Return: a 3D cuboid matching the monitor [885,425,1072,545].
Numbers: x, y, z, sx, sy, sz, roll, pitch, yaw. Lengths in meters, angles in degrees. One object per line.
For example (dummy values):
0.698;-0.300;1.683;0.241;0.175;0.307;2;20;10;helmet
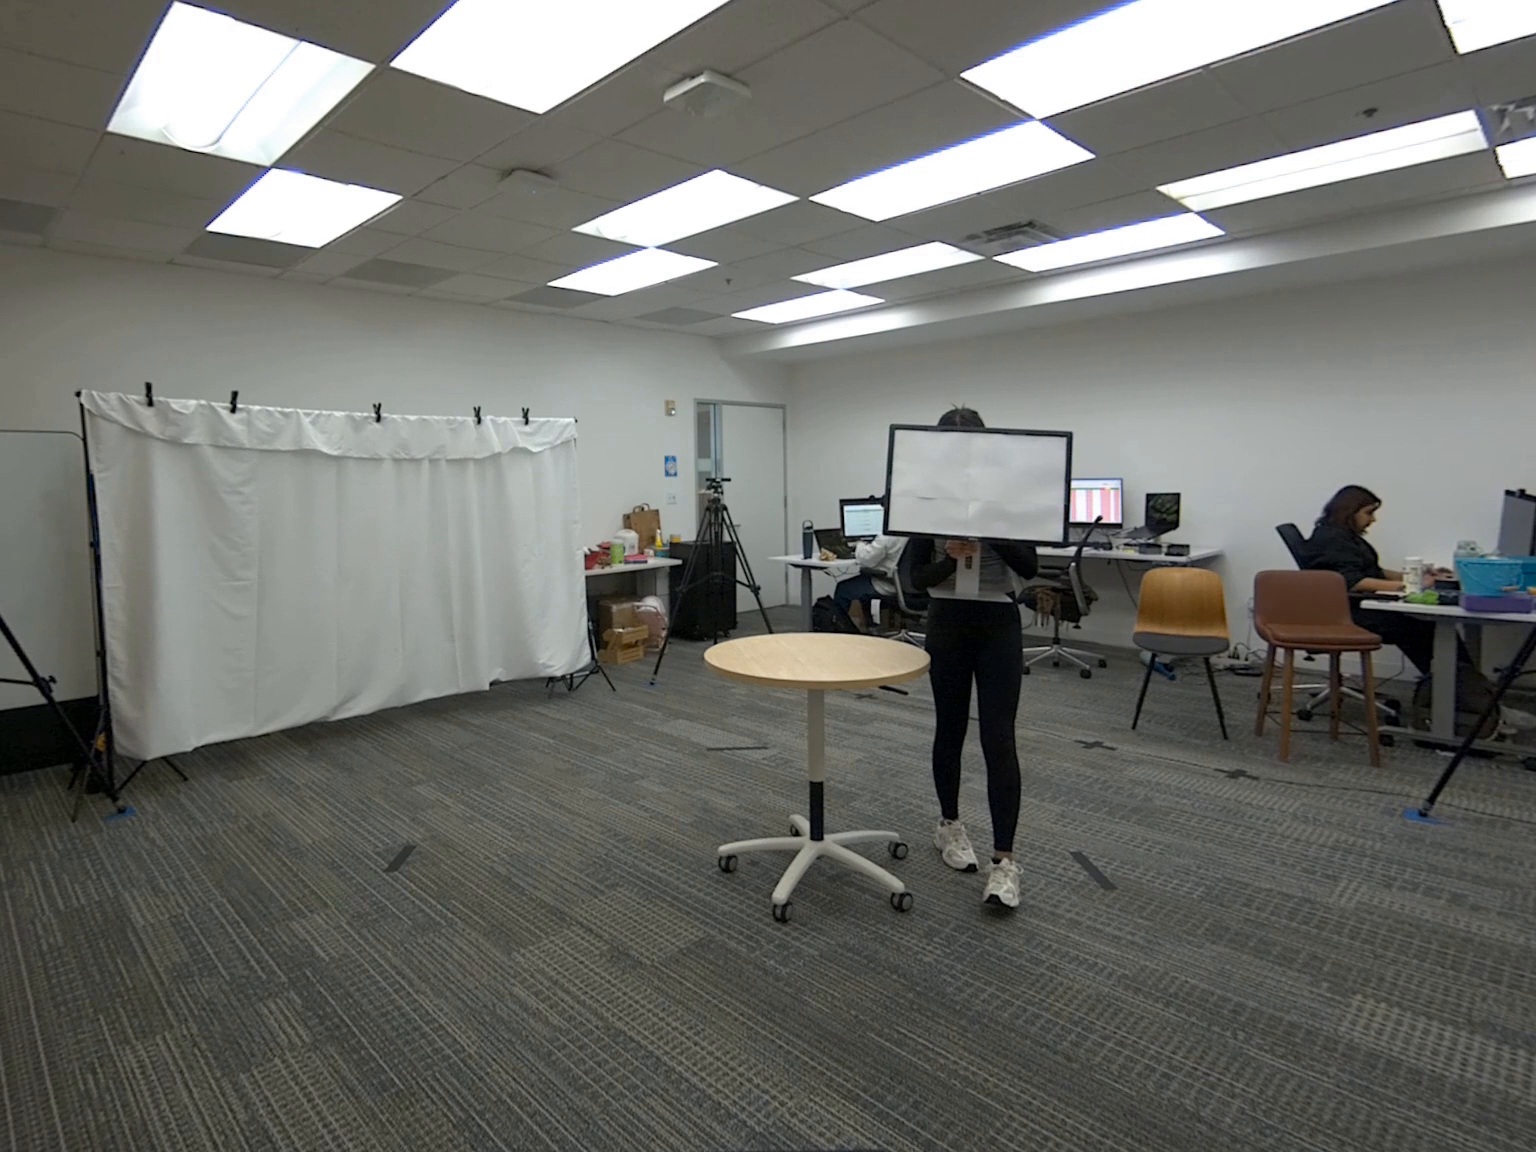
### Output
0.661;-0.195;2.720;0.543;0.521;0.186;4;3;7;monitor
